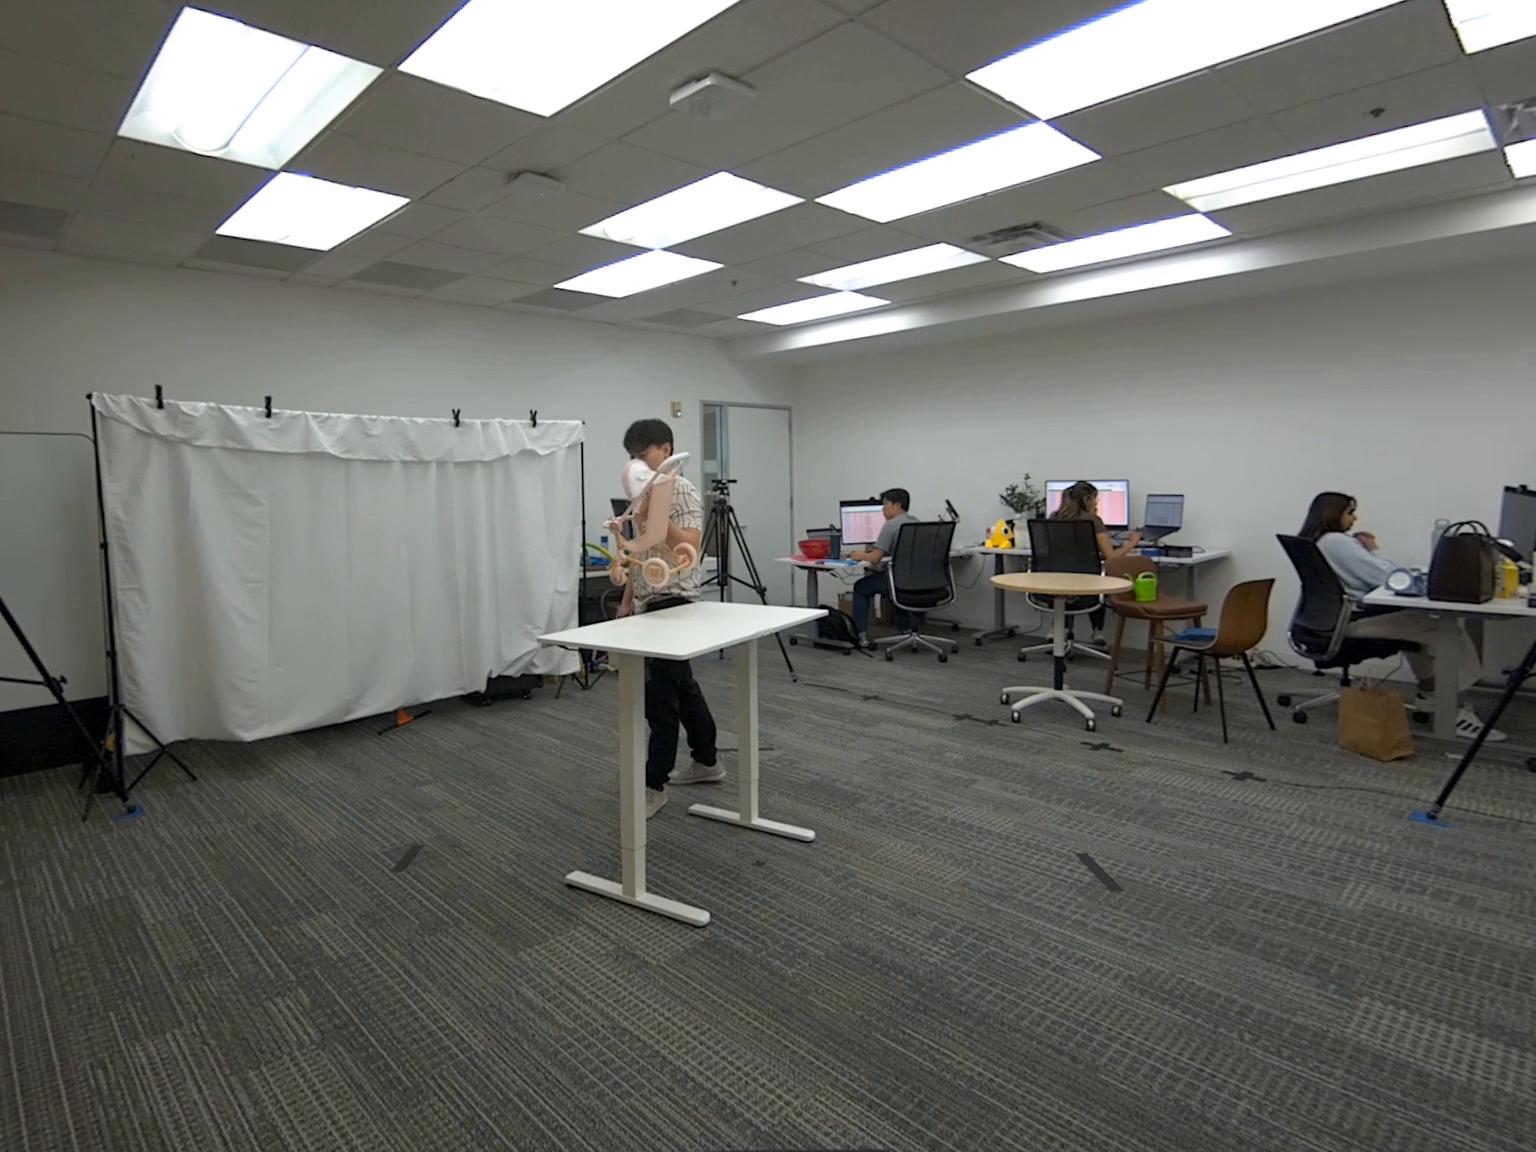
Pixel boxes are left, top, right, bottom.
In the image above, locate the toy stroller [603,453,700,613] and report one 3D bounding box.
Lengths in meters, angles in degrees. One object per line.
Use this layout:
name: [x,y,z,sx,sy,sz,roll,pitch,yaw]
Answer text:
toy stroller: [-0.474,-0.205,3.276,0.350,0.528,0.278,6,16,27]
